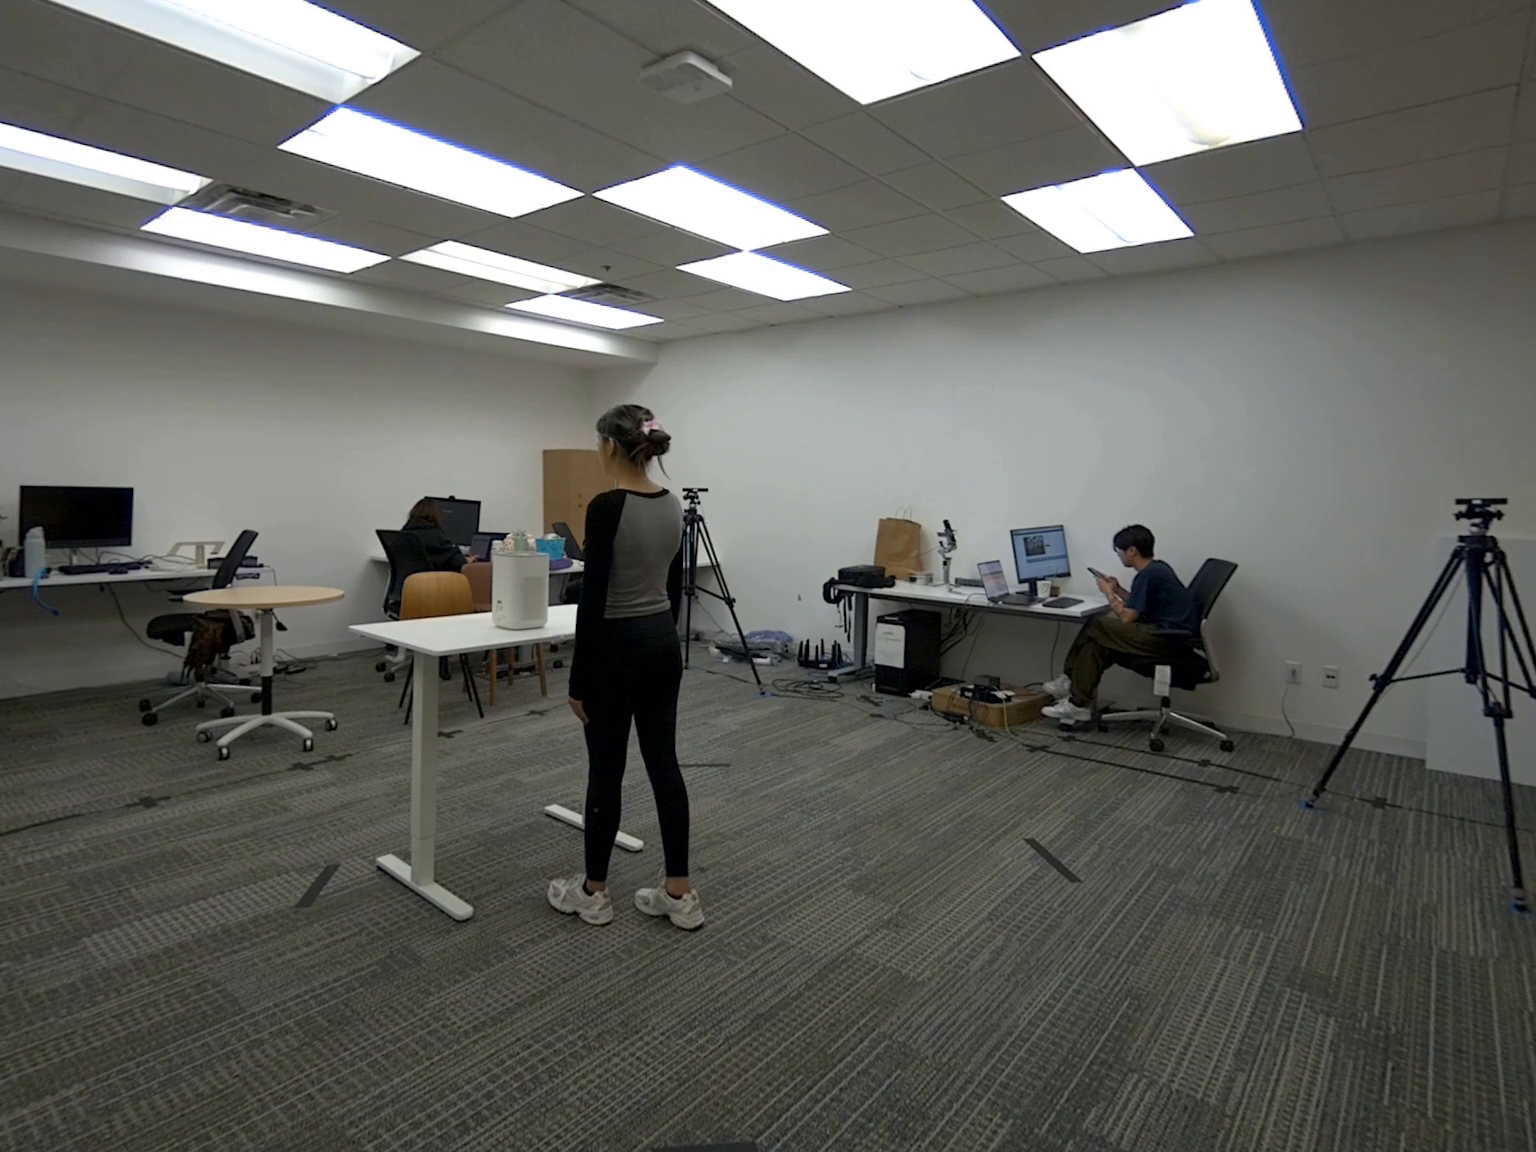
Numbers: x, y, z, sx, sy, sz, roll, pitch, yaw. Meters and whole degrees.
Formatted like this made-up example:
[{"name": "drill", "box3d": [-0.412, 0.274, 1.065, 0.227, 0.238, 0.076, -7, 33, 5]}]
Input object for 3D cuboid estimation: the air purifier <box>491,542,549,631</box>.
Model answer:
[{"name": "air purifier", "box3d": [-0.906, 0.048, 3.062, 0.177, 0.265, 0.166, 4, 4, 42]}]
